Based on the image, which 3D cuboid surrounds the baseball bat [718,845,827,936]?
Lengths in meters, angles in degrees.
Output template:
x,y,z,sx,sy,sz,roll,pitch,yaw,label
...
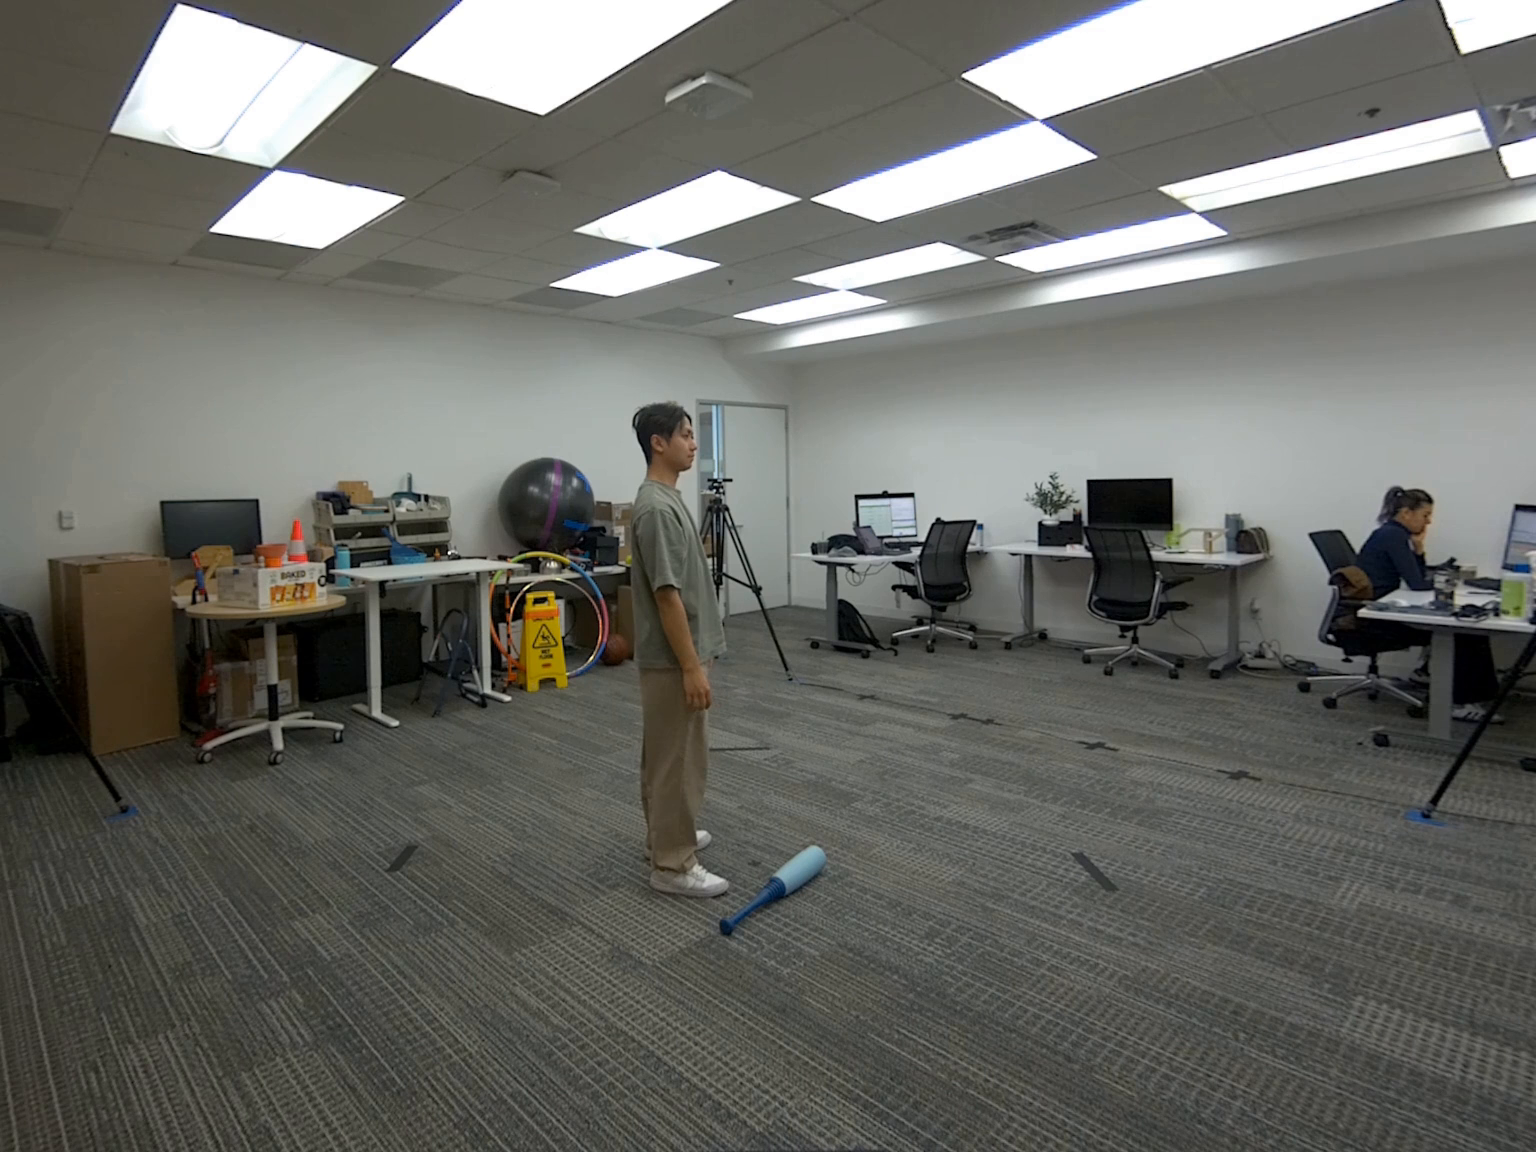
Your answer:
x,y,z,sx,sy,sz,roll,pitch,yaw,label
0.025,1.042,2.826,0.091,0.088,0.531,3,11,36,baseball bat
